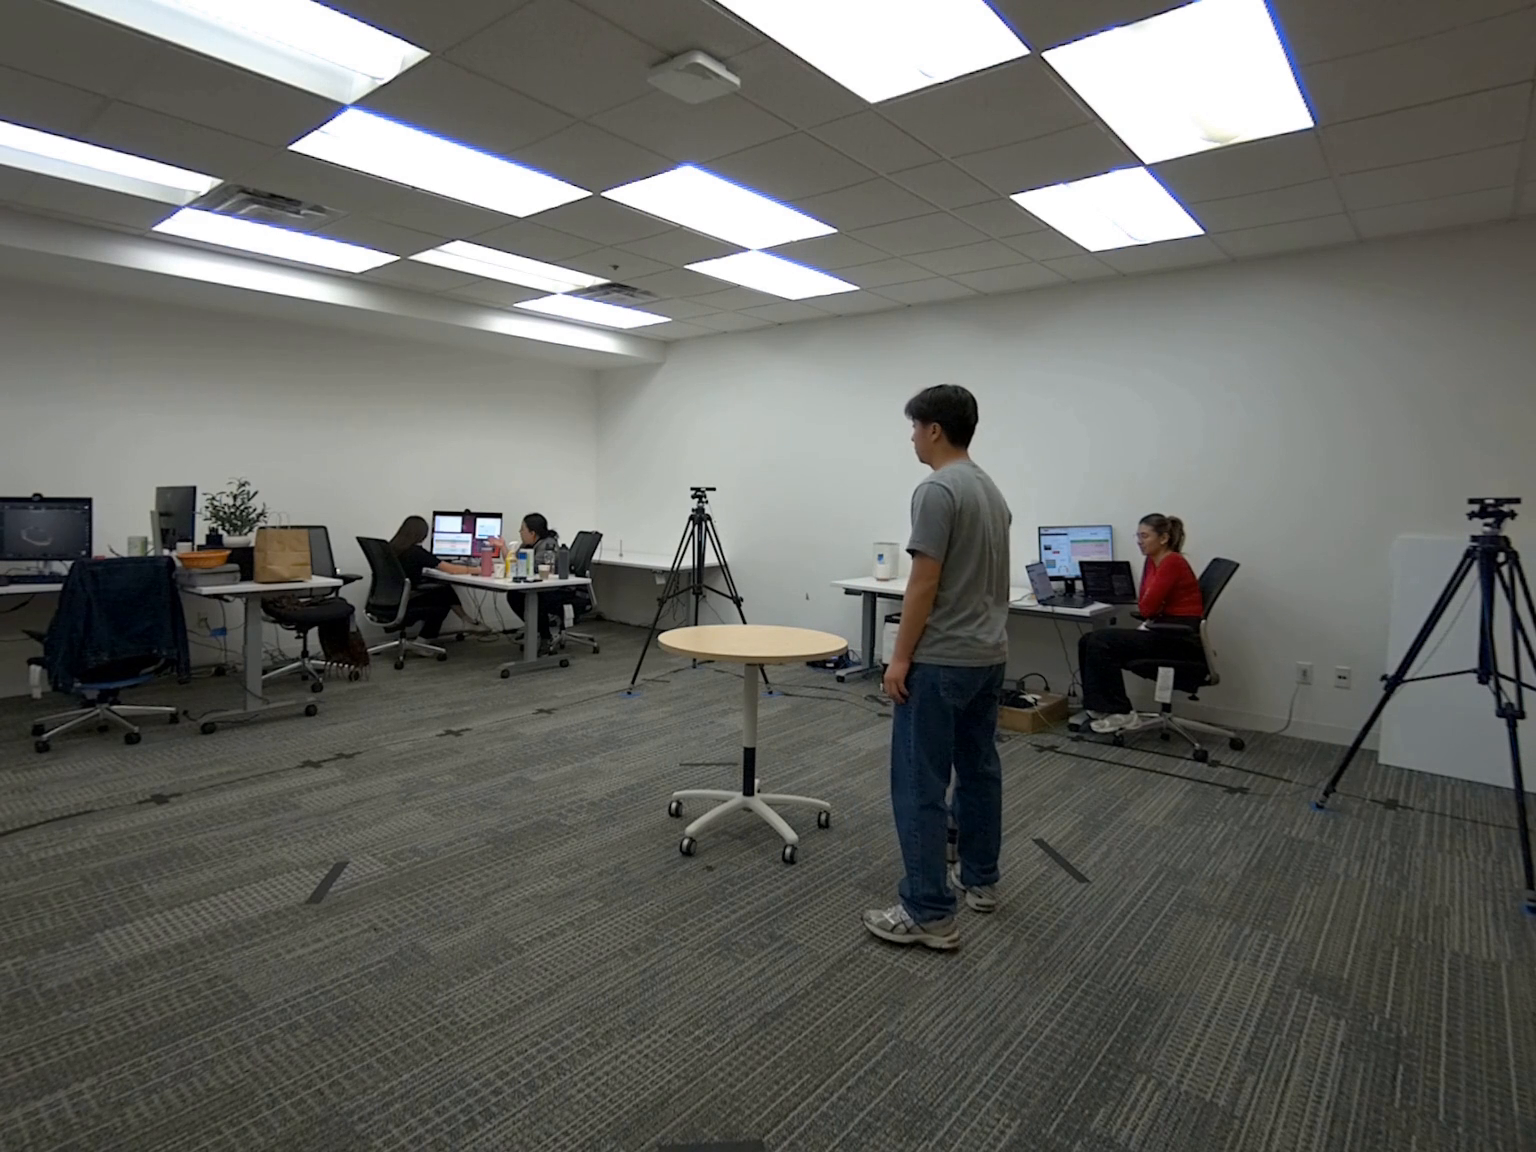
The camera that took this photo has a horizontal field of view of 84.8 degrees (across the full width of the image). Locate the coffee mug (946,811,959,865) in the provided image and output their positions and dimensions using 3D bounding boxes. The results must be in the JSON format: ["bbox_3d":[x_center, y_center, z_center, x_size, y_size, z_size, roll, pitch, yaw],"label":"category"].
[{"bbox_3d":[0.711,0.975,3.200,0.126,0.203,0.085,0,-3,44],"label":"coffee mug"}]
